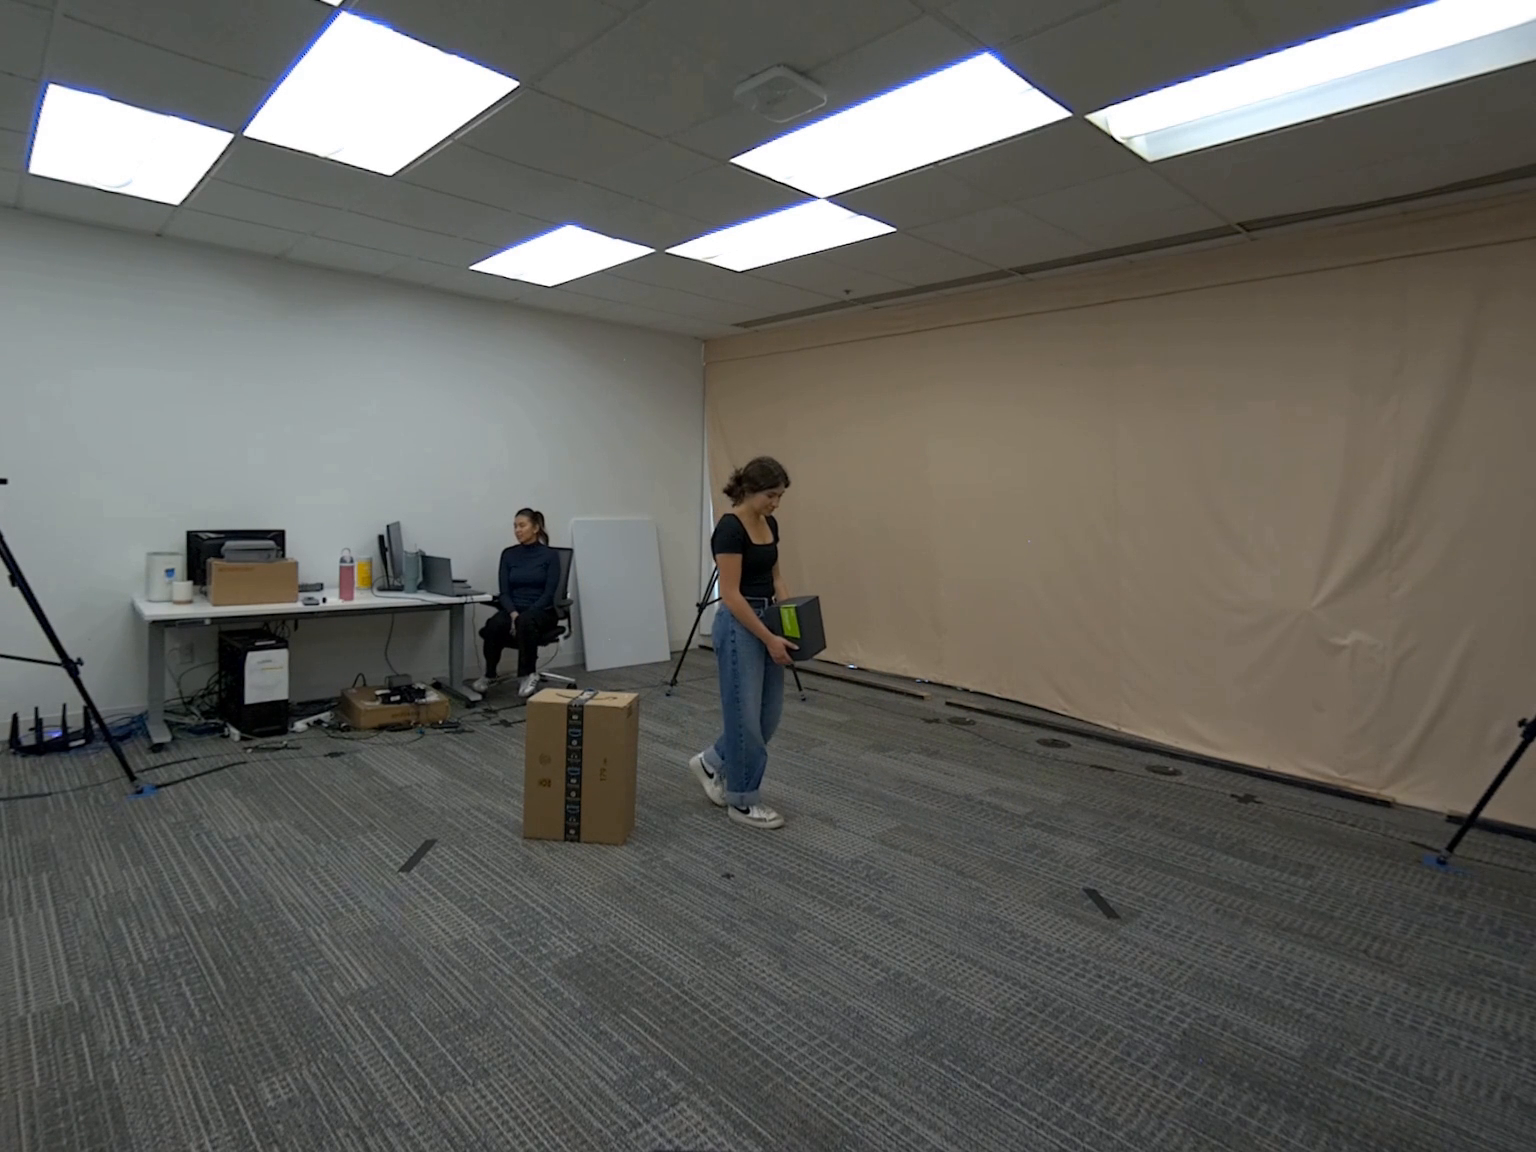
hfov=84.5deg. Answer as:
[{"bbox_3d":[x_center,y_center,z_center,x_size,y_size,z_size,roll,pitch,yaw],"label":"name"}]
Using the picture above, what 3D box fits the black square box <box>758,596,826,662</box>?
[{"bbox_3d":[0.095,0.212,3.528,0.159,0.226,0.214,1,9,25],"label":"black square box"}]
